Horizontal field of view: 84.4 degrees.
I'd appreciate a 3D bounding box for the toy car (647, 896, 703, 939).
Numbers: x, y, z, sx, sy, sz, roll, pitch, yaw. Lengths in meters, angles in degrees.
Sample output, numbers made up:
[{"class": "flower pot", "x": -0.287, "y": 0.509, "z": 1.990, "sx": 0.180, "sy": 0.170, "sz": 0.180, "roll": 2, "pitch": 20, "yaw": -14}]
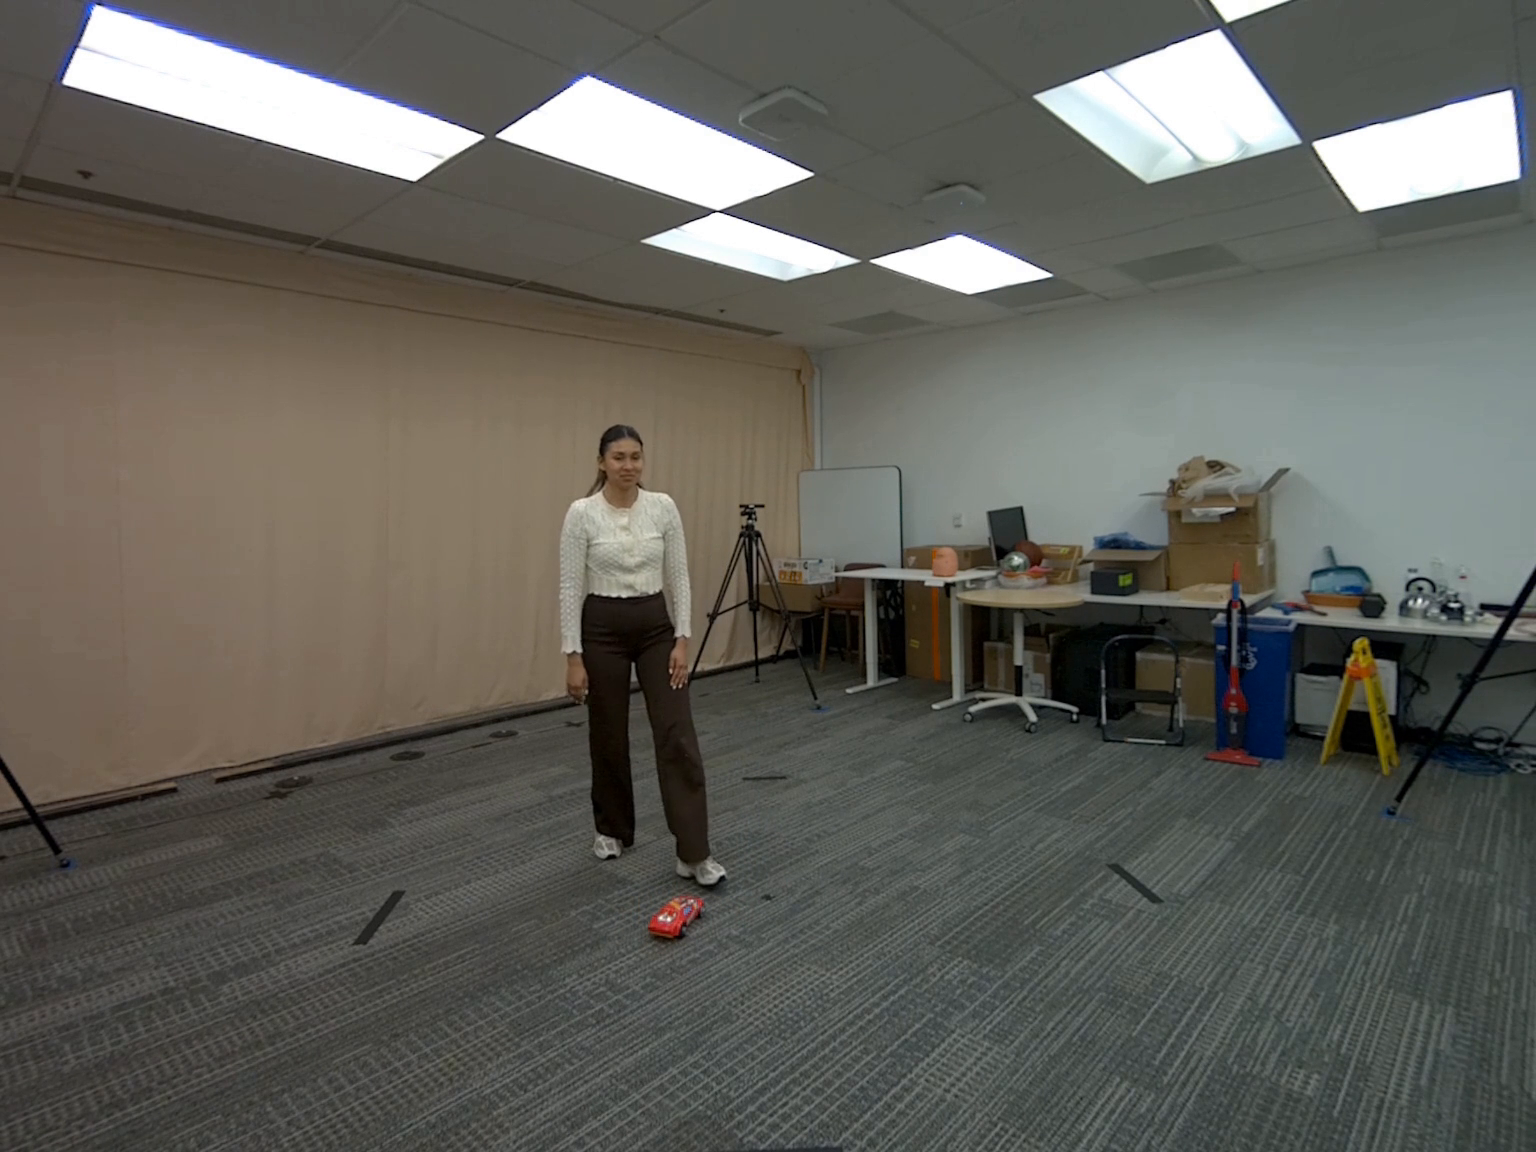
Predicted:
[{"class": "toy car", "x": -0.306, "y": 1.124, "z": 2.783, "sx": 0.133, "sy": 0.083, "sz": 0.248, "roll": 2, "pitch": -6, "yaw": 22}]
